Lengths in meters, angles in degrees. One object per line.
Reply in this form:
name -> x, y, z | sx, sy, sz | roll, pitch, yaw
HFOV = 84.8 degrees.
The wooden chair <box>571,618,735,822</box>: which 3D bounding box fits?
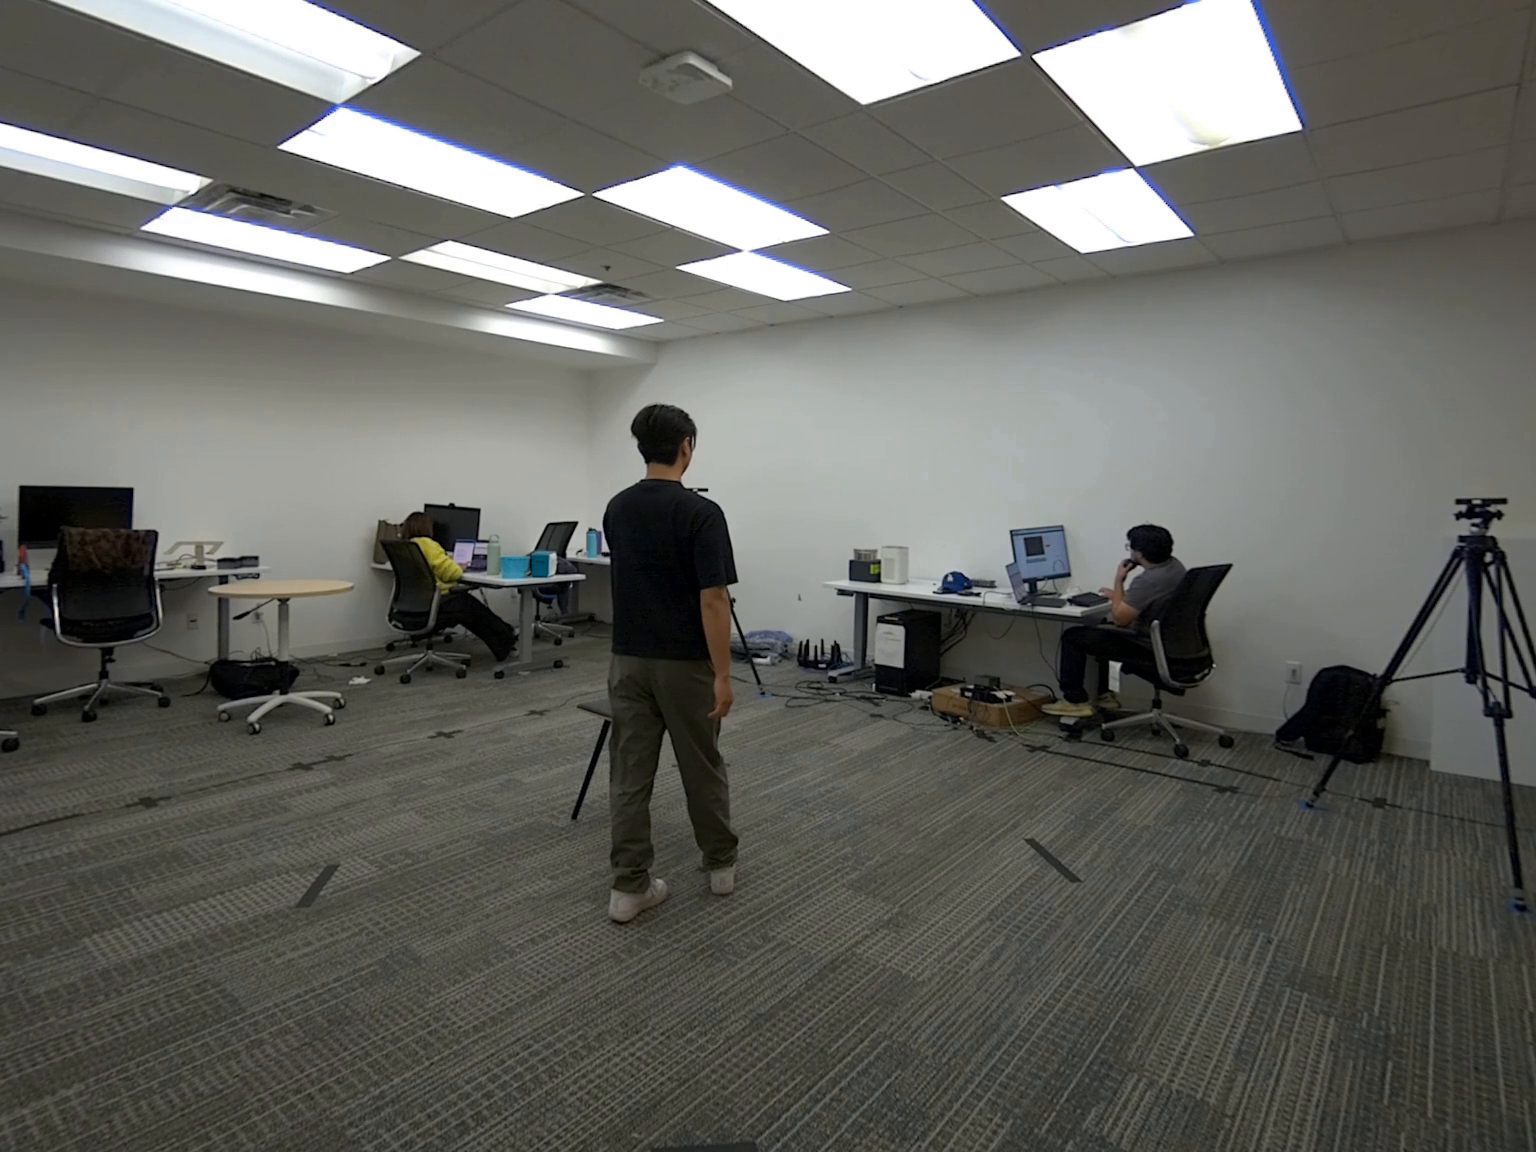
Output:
wooden chair -> -0.509, 0.592, 3.549 | 0.542, 0.873, 0.463 | 10, 8, 40
